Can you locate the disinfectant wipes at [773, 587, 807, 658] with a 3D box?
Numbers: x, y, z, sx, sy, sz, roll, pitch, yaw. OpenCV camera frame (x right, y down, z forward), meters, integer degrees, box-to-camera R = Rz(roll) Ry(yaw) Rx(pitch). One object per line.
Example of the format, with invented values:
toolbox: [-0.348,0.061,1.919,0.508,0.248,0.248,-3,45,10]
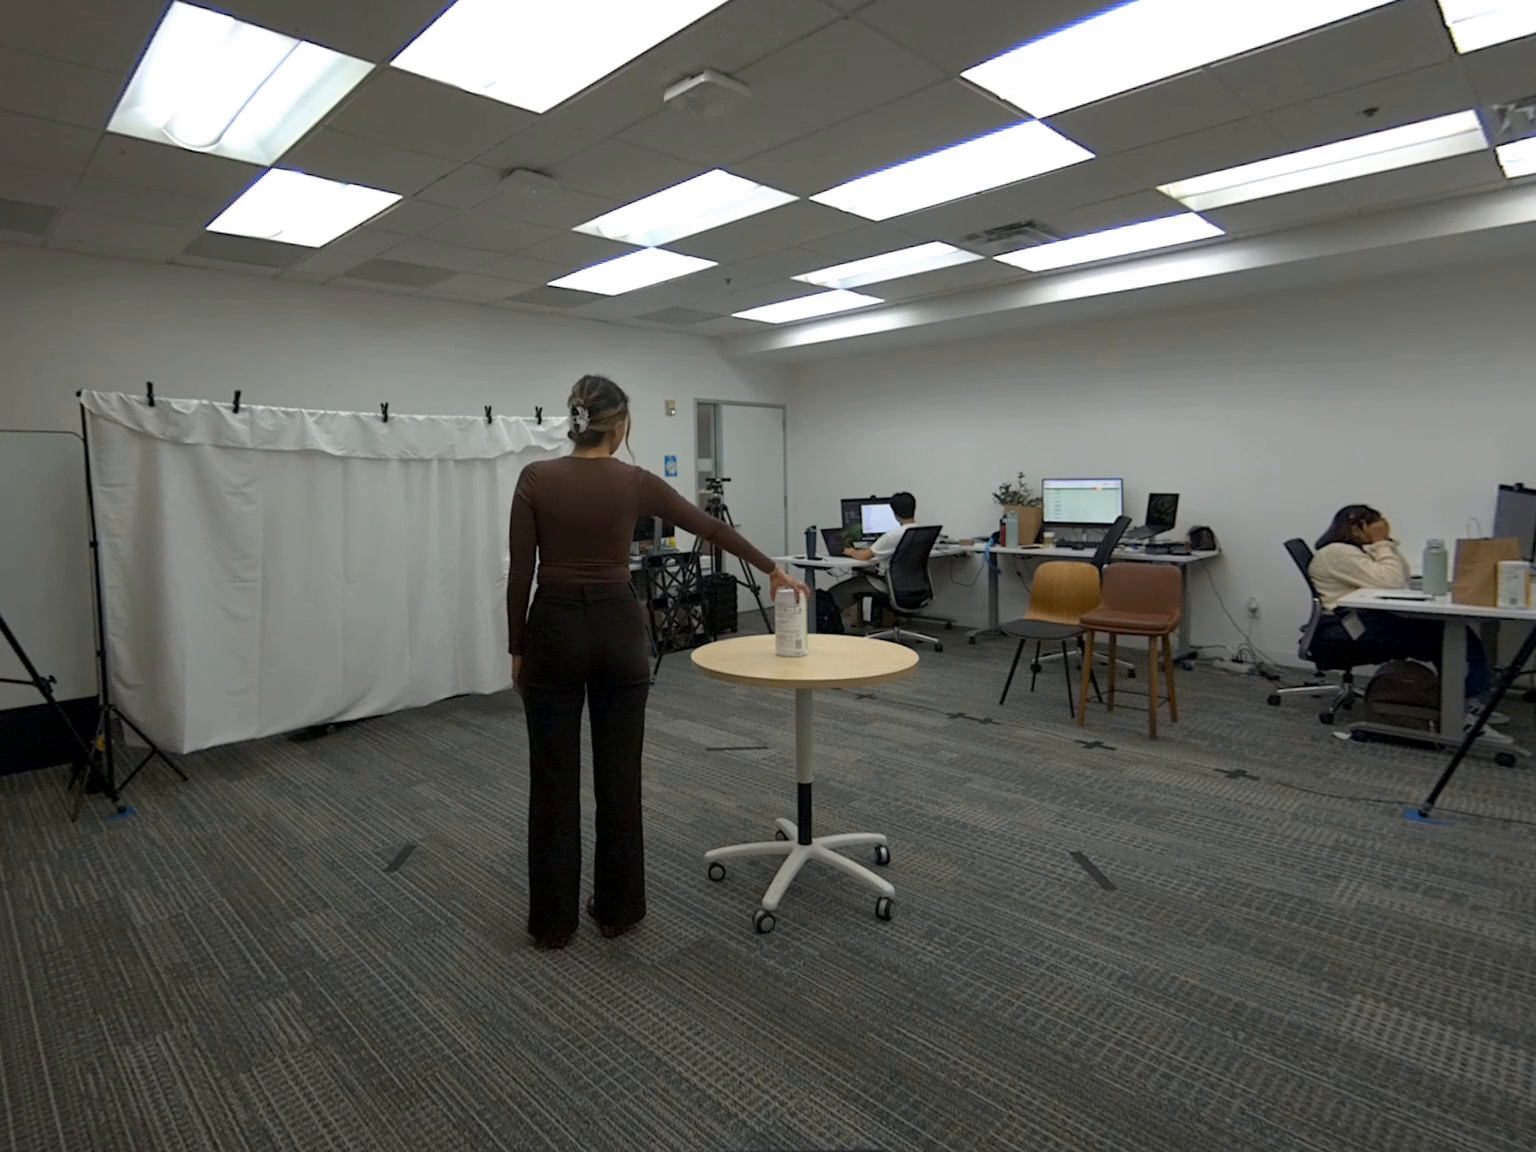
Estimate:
disinfectant wipes: [0.082,0.160,2.896,0.118,0.217,0.118,-1,2,-2]
